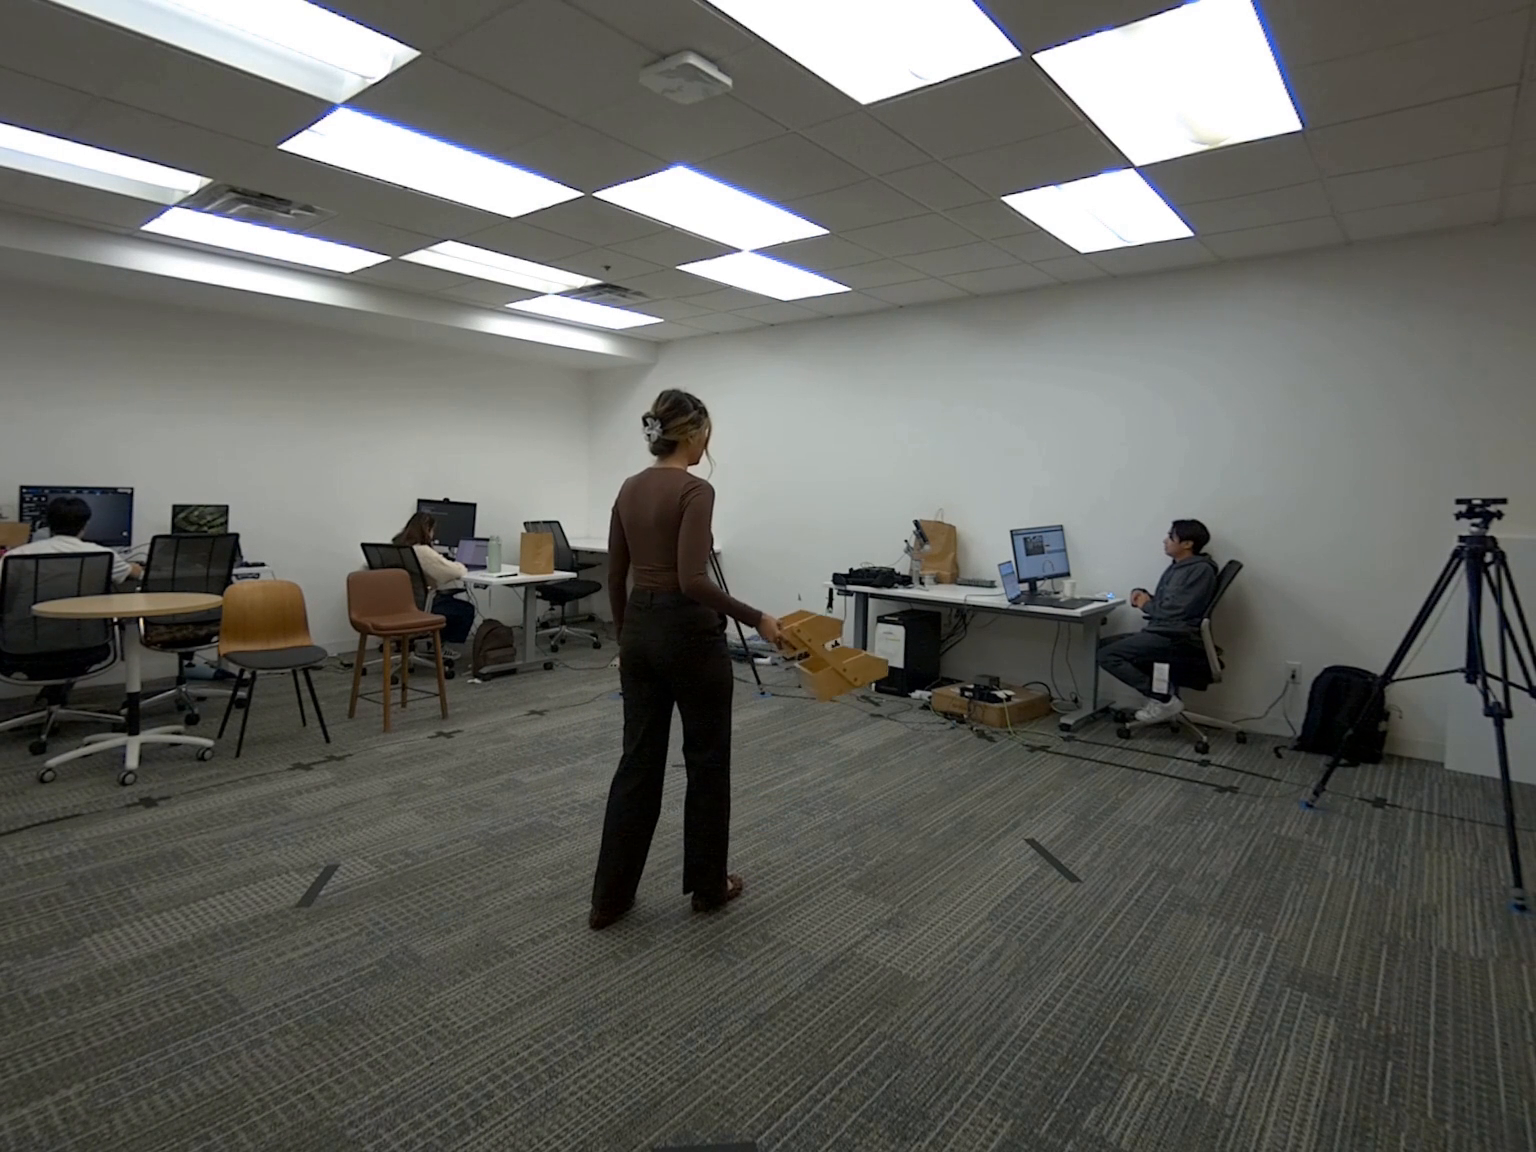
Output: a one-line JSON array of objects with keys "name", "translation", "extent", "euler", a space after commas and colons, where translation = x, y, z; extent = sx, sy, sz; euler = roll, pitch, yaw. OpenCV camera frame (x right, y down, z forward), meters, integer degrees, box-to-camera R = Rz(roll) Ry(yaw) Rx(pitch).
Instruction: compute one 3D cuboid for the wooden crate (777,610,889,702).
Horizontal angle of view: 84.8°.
[{"name": "wooden crate", "translation": [0.168, 0.236, 2.809], "extent": [0.301, 0.273, 0.326], "euler": [-22, 3, -7]}]
